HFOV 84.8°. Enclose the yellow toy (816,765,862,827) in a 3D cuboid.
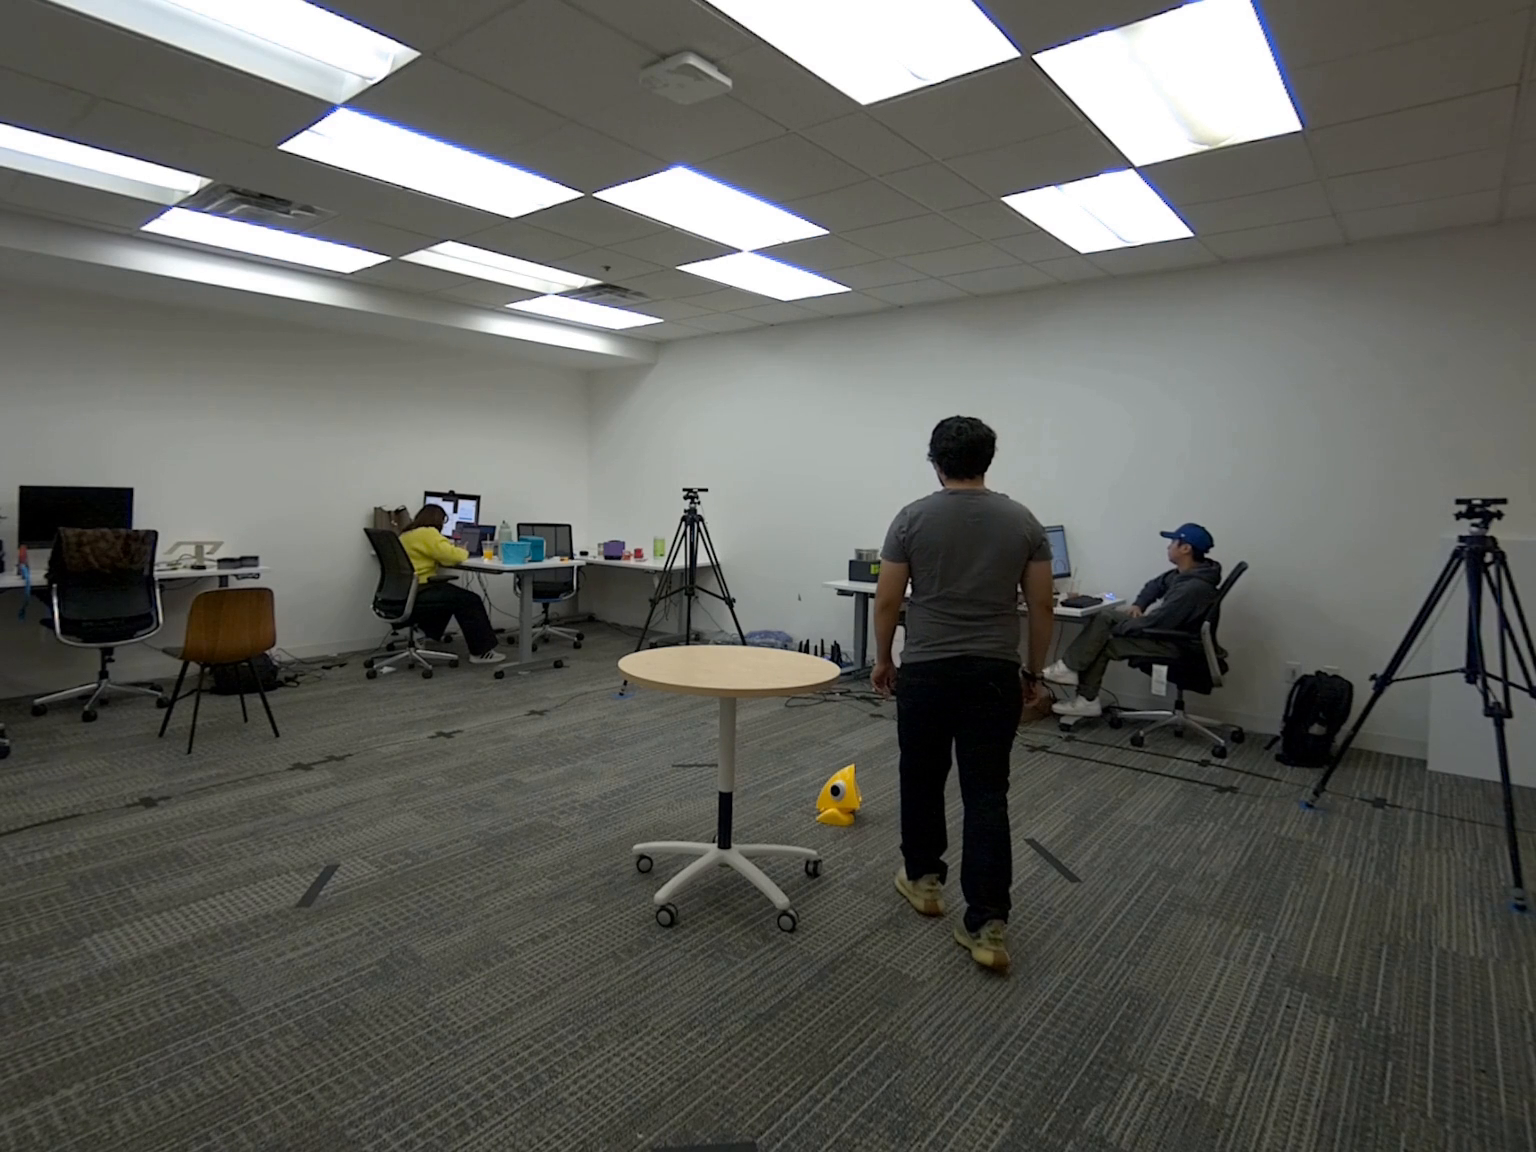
[{"bbox_3d":[0.295,0.915,3.650,0.195,0.230,0.203,4,4,8],"label":"yellow toy"}]
